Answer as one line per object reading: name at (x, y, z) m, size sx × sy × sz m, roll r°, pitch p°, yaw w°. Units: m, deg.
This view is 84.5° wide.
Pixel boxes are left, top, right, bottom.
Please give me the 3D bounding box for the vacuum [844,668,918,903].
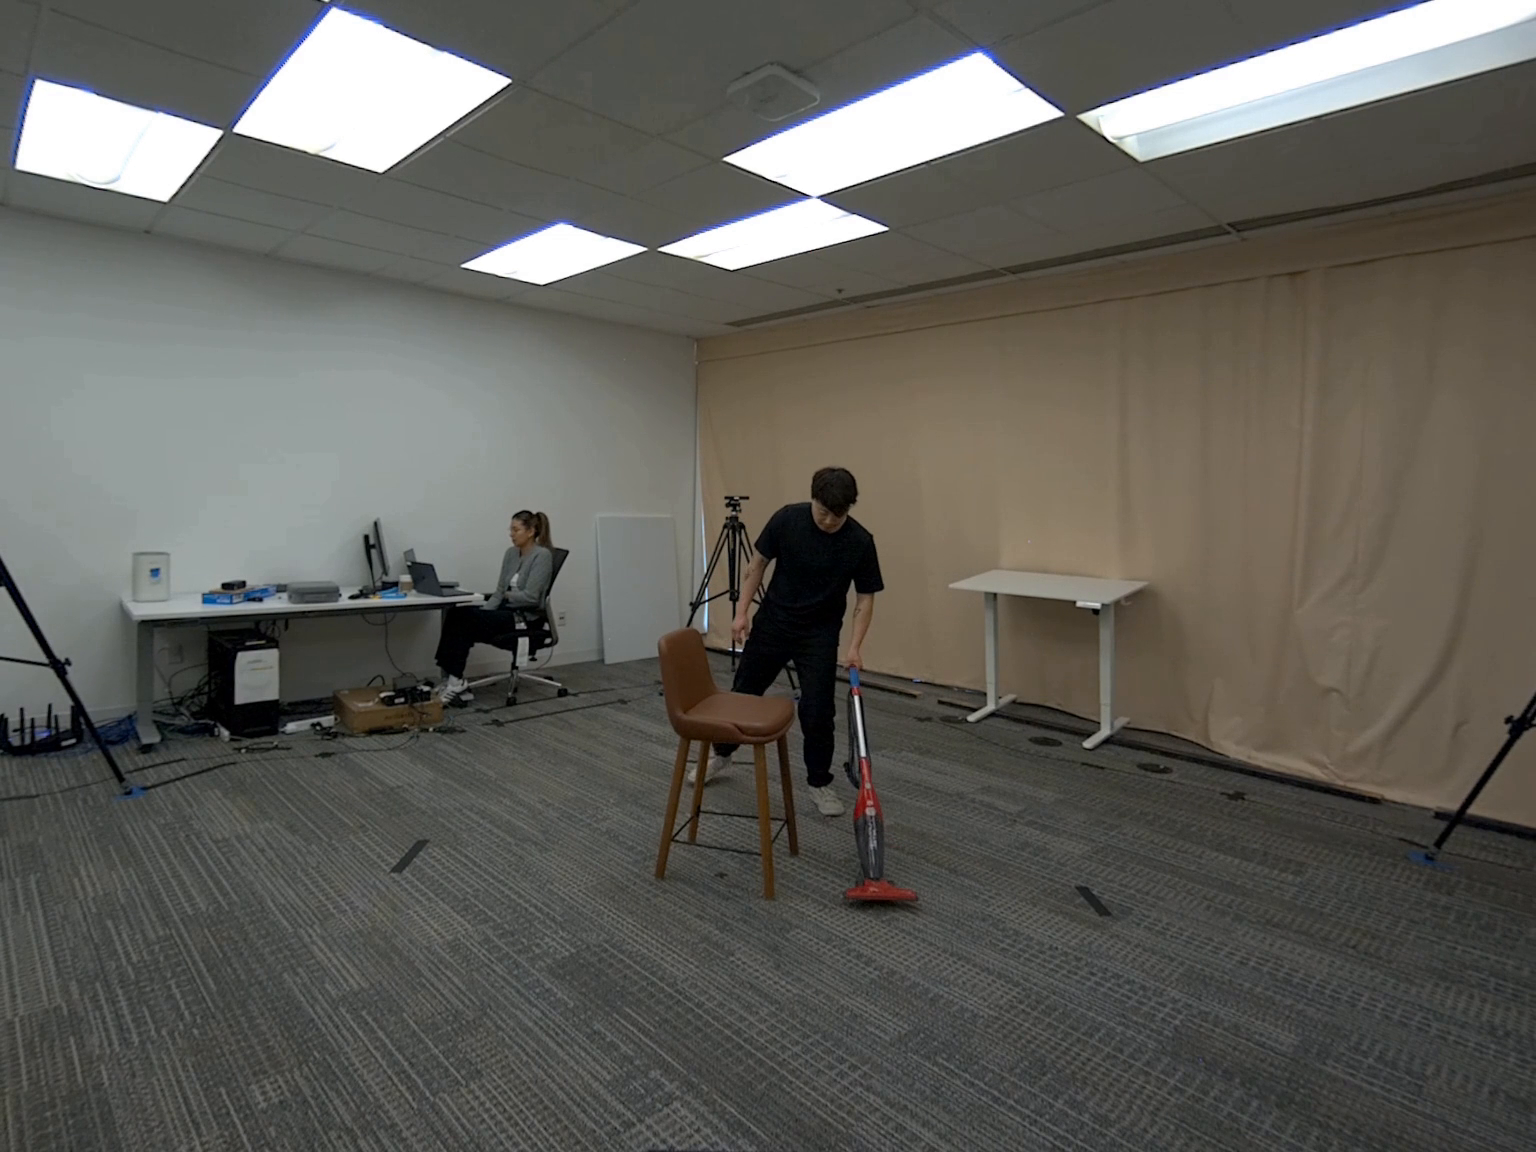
vacuum at (0.362, 0.748, 3.313) m, size 0.252 × 0.141 × 1.073 m, roll 0°, pitch 43°, yaw -2°
